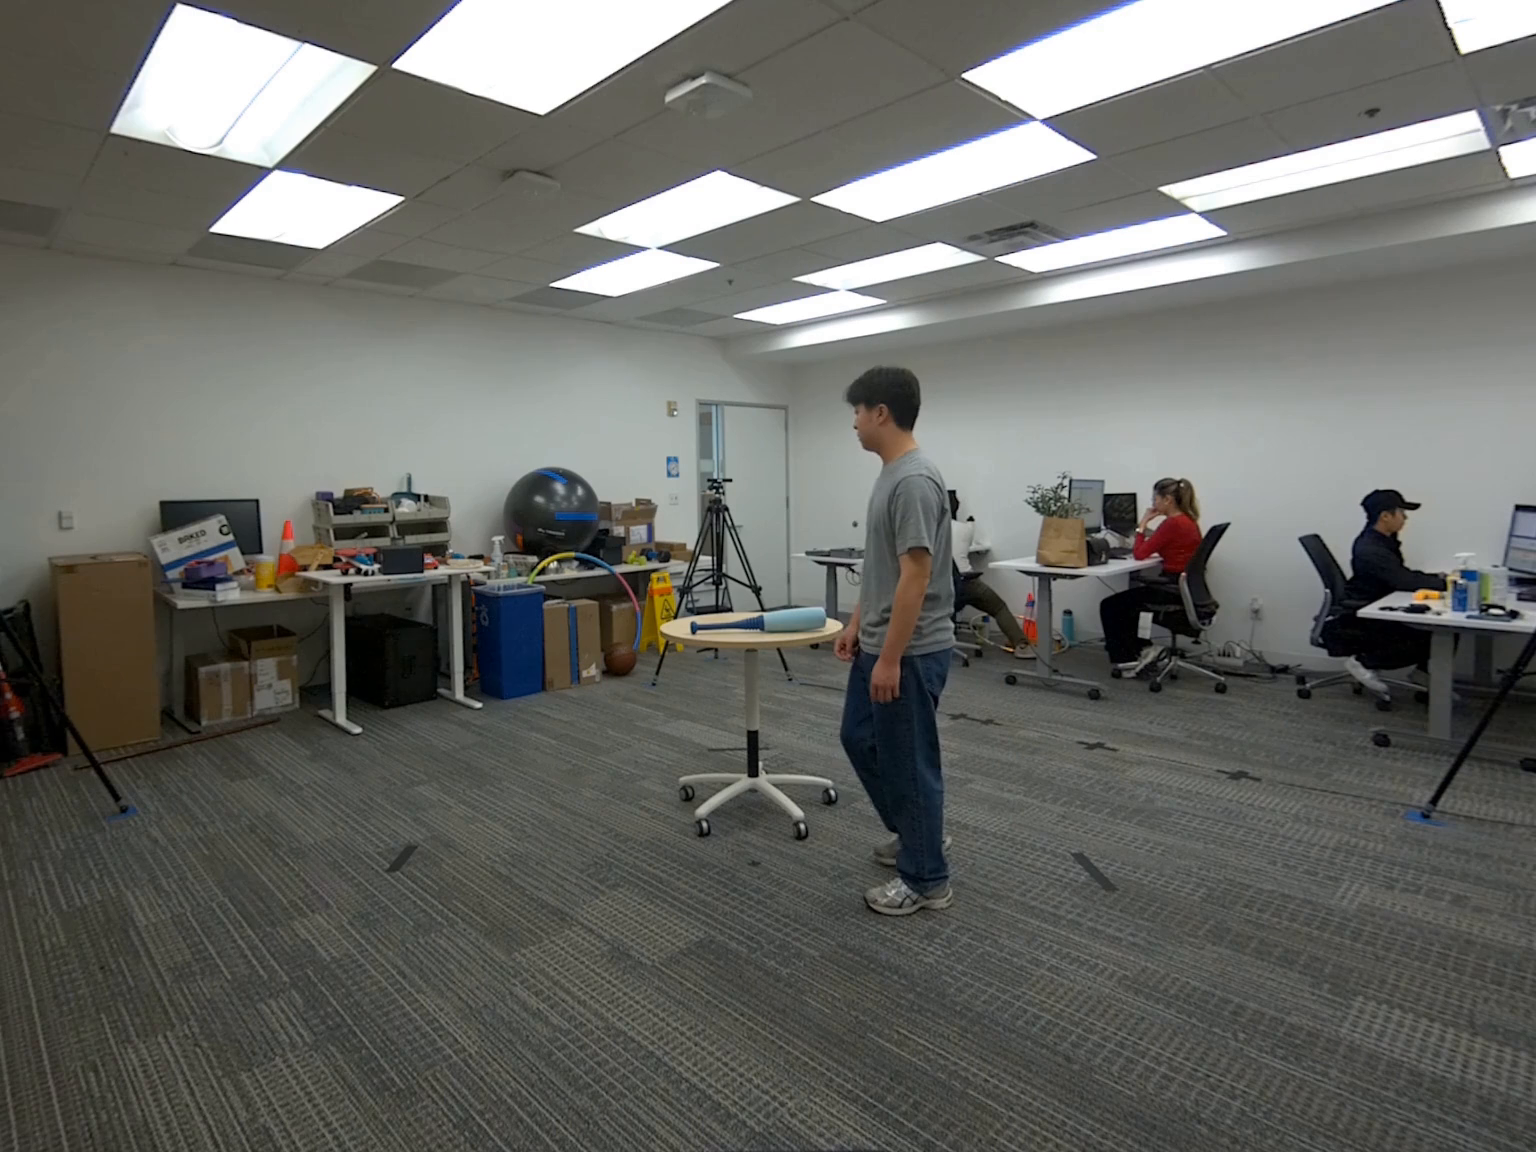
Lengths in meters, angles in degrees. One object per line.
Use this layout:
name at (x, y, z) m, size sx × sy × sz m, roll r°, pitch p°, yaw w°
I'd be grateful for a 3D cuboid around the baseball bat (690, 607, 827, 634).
baseball bat at (-0.036, 0.190, 3.402) m, size 0.540 × 0.089 × 0.090 m, roll -5°, pitch 5°, yaw -5°
